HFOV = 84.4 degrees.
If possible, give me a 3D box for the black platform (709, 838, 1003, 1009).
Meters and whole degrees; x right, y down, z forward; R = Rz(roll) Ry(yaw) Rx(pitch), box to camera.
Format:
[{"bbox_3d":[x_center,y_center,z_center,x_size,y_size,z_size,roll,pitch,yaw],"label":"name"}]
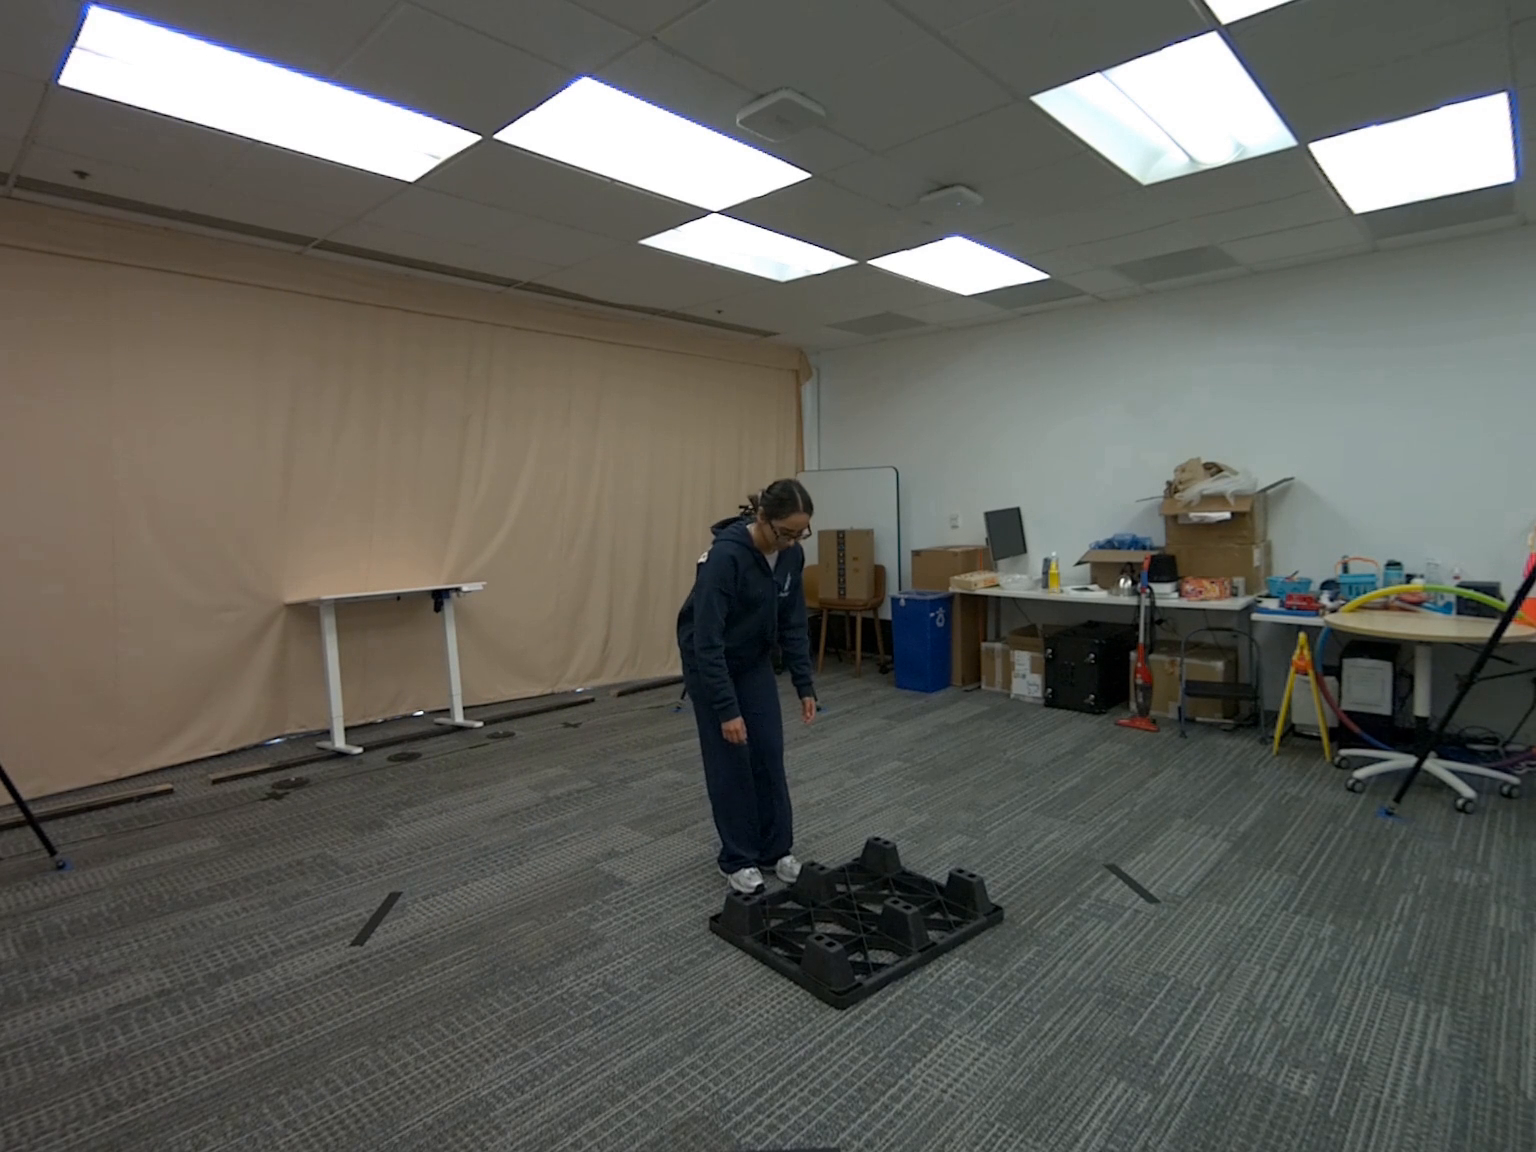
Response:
[{"bbox_3d":[0.292,1.080,2.785,0.781,0.143,0.625,-5,7,-40],"label":"black platform"}]
